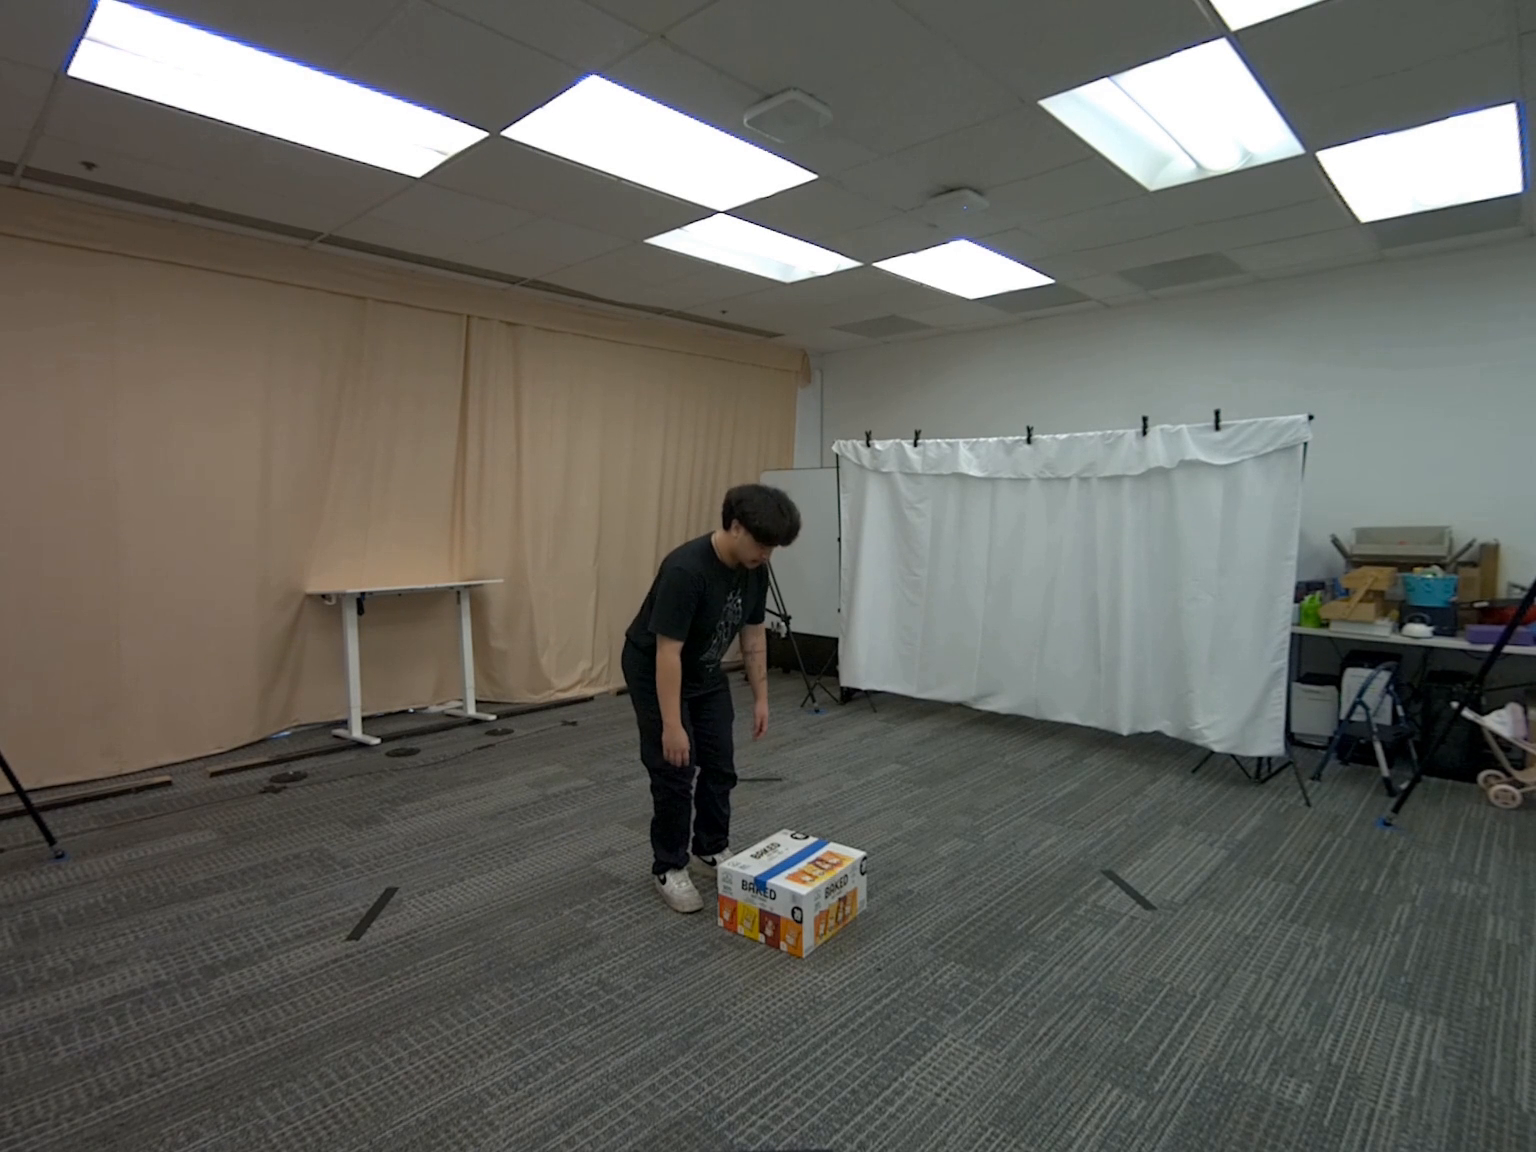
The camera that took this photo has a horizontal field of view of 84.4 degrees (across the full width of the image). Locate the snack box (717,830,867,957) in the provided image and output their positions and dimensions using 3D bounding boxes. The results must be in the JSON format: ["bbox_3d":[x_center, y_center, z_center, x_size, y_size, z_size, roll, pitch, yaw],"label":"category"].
[{"bbox_3d":[0.091,1.055,2.839,0.351,0.205,0.393,3,6,36],"label":"snack box"}]
